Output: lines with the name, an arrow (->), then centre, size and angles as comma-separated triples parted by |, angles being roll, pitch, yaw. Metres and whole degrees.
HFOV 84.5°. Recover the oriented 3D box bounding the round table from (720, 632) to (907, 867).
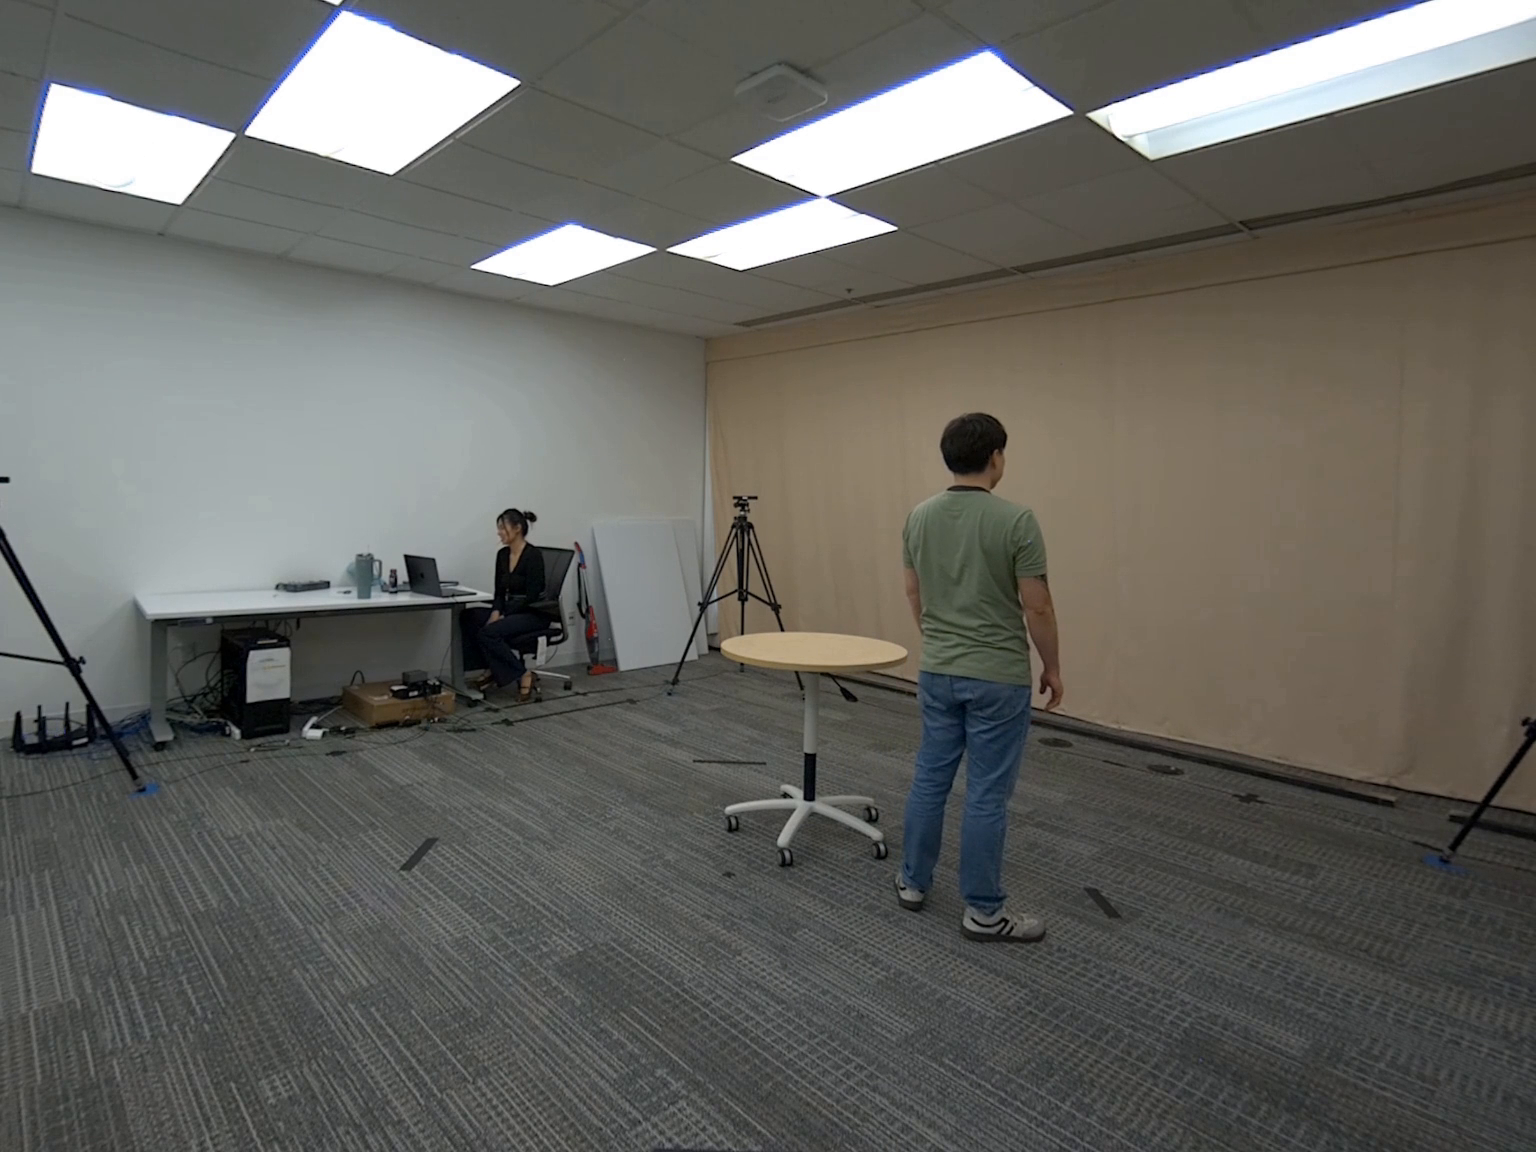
round table -> 0.173, 0.688, 3.499 | 0.763, 0.792, 0.766 | 1, 4, -1
